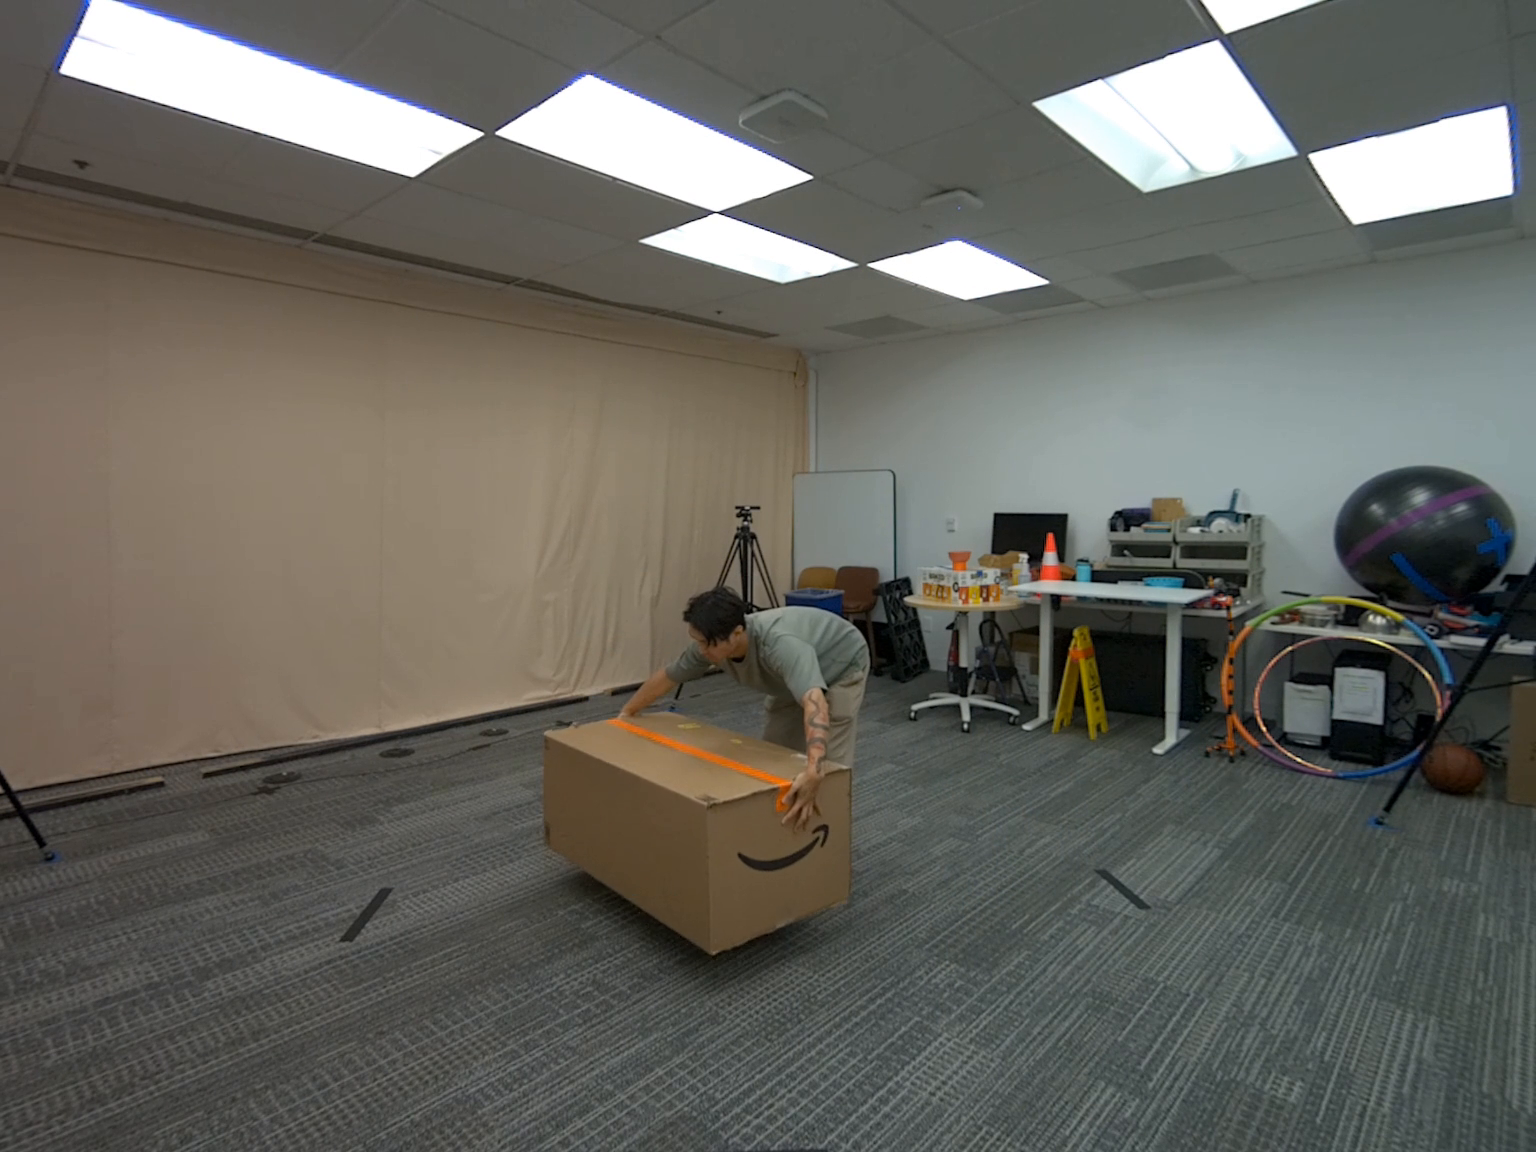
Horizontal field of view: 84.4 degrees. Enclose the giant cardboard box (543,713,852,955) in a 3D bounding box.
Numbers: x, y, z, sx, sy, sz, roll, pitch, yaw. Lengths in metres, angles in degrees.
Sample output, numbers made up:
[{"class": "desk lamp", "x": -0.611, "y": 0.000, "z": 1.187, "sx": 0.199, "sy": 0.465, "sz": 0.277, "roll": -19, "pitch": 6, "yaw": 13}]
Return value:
[{"class": "giant cardboard box", "x": -0.279, "y": 0.796, "z": 2.905, "sx": 0.560, "sy": 0.425, "sz": 1.059, "roll": -2, "pitch": 4, "yaw": -40}]
